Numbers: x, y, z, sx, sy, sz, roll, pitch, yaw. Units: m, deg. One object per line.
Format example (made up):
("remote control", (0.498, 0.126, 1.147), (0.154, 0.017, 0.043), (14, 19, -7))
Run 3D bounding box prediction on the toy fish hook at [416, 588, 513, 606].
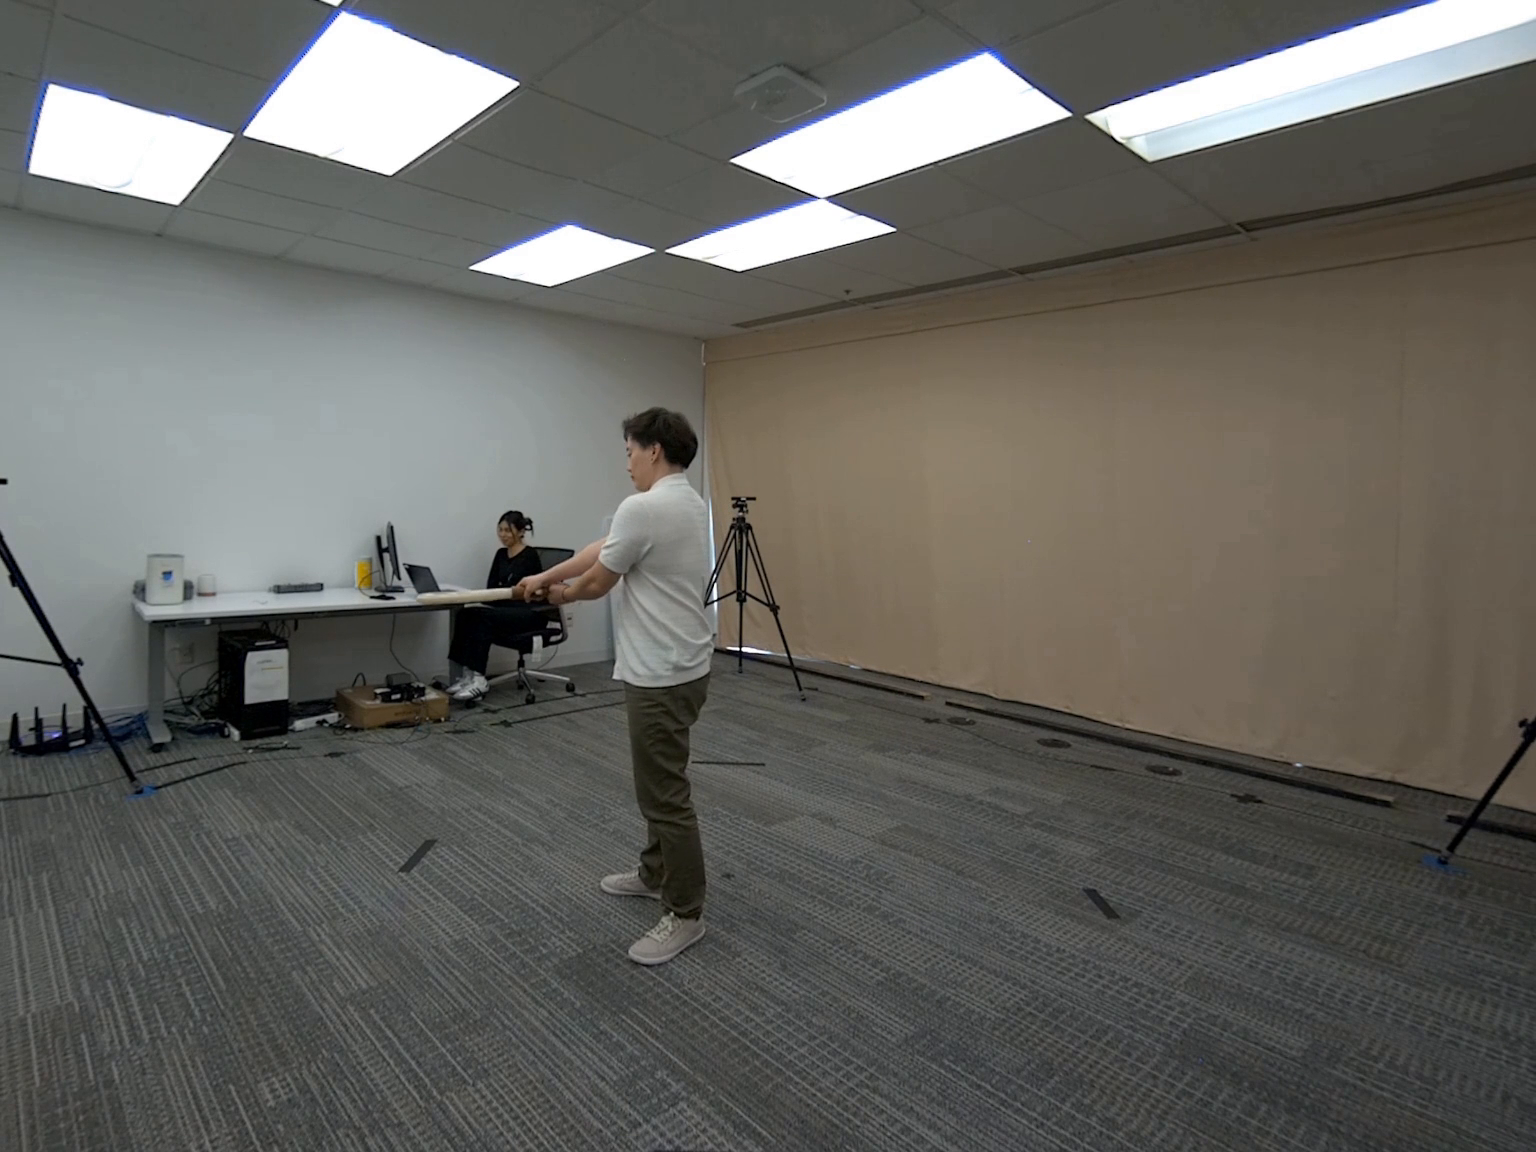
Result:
("toy fish hook", (-0.931, 0.061, 2.898), (0.501, 0.048, 0.228), (-1, 7, -13))
